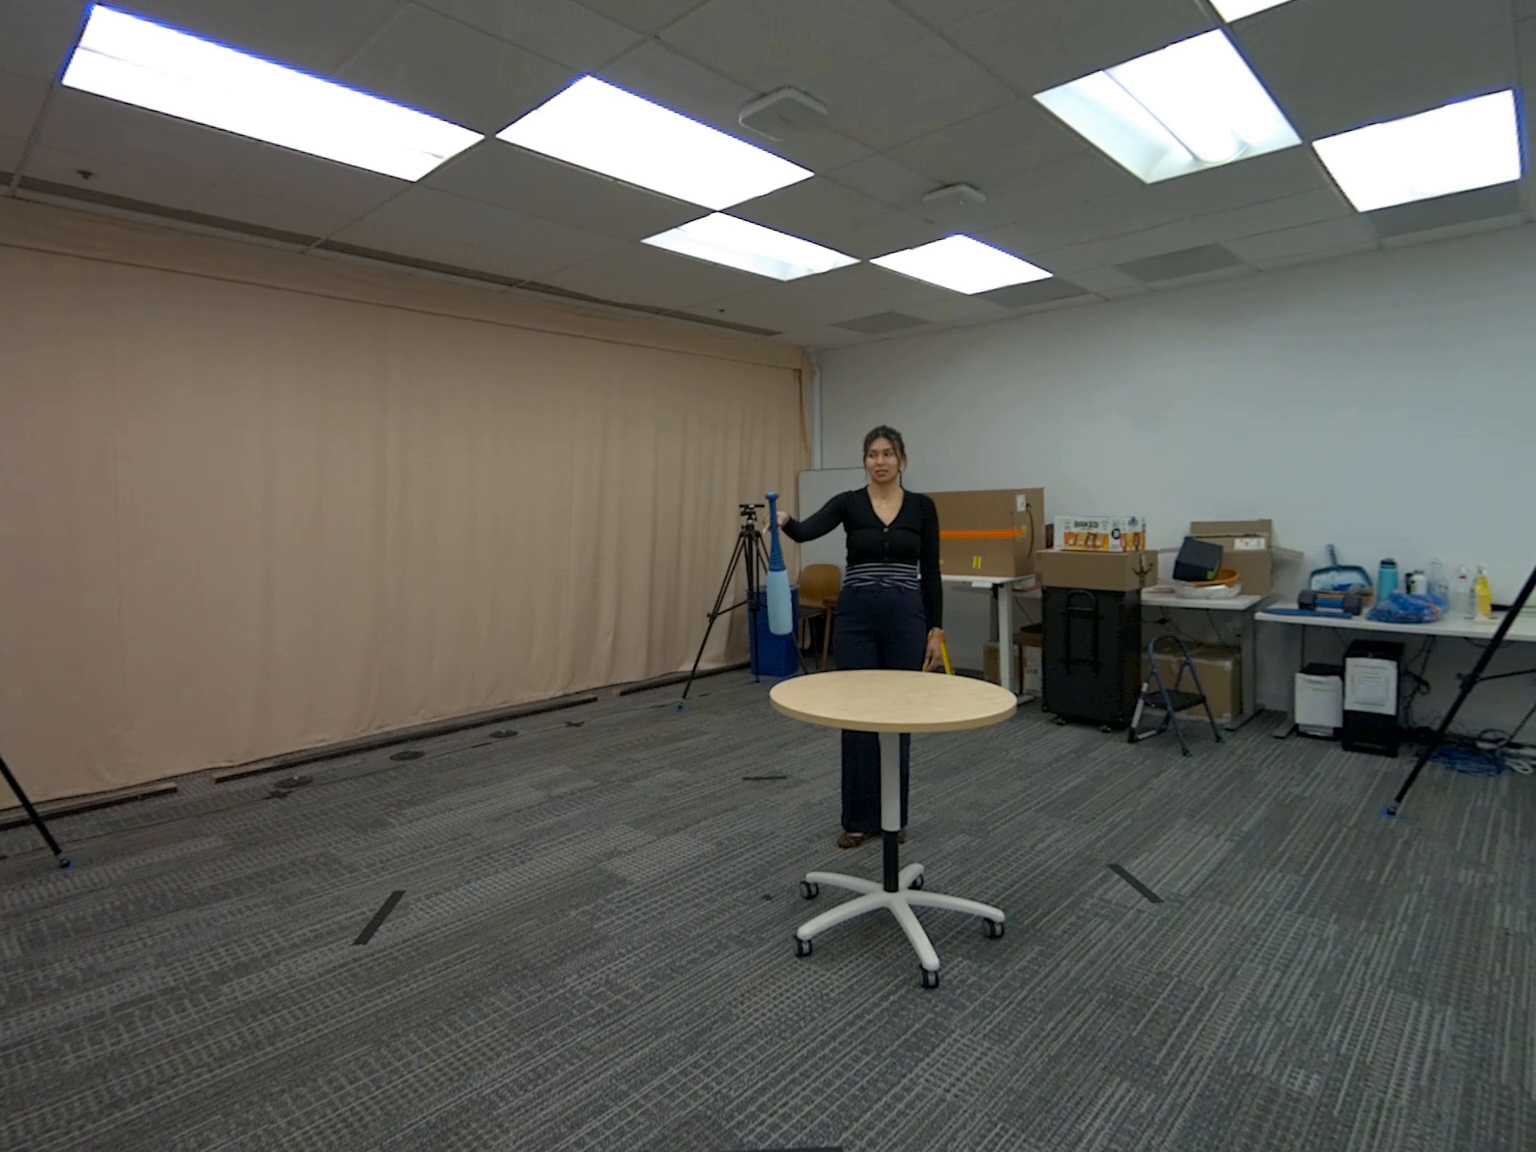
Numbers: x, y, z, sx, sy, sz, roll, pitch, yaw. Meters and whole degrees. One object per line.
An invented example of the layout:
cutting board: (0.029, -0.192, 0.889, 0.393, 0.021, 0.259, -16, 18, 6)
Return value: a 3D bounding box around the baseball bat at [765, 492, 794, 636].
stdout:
baseball bat: (0.034, -0.045, 3.104, 0.089, 0.537, 0.090, -4, 14, -1)
